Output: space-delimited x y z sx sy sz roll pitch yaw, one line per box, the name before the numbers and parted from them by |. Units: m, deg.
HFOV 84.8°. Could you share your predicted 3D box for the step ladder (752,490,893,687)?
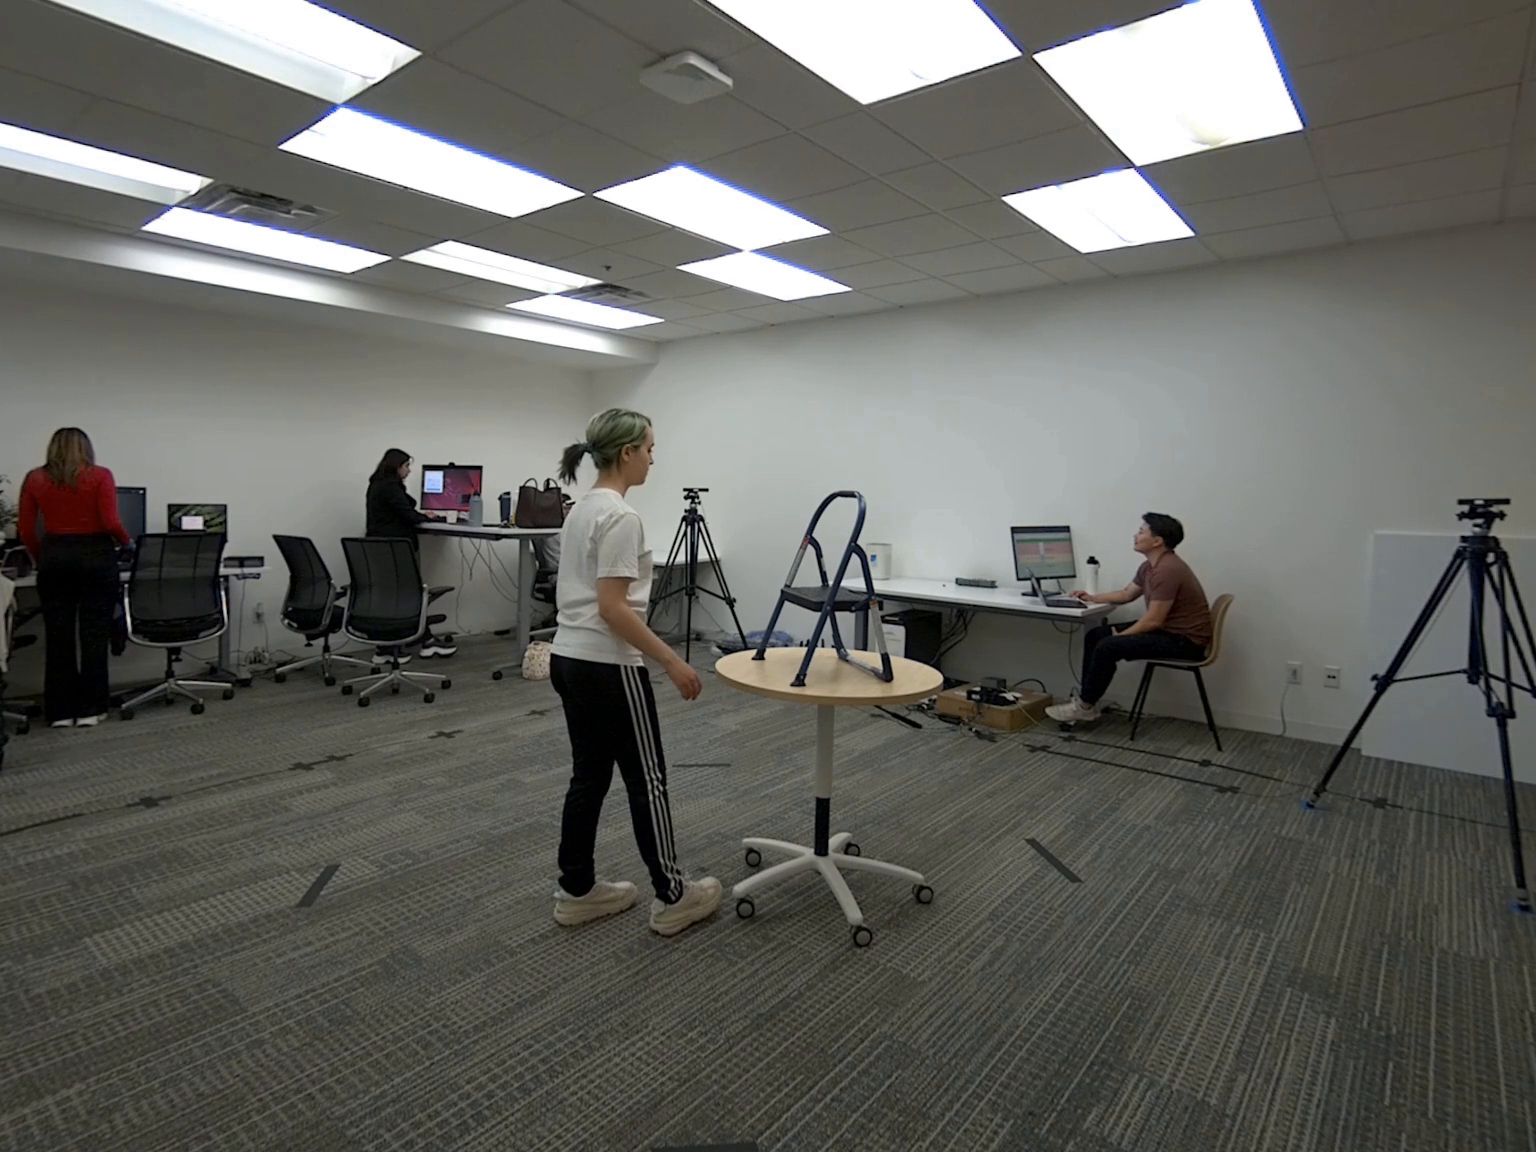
step ladder | 0.181 0.018 2.856 0.343 0.604 0.440 0 4 -18
